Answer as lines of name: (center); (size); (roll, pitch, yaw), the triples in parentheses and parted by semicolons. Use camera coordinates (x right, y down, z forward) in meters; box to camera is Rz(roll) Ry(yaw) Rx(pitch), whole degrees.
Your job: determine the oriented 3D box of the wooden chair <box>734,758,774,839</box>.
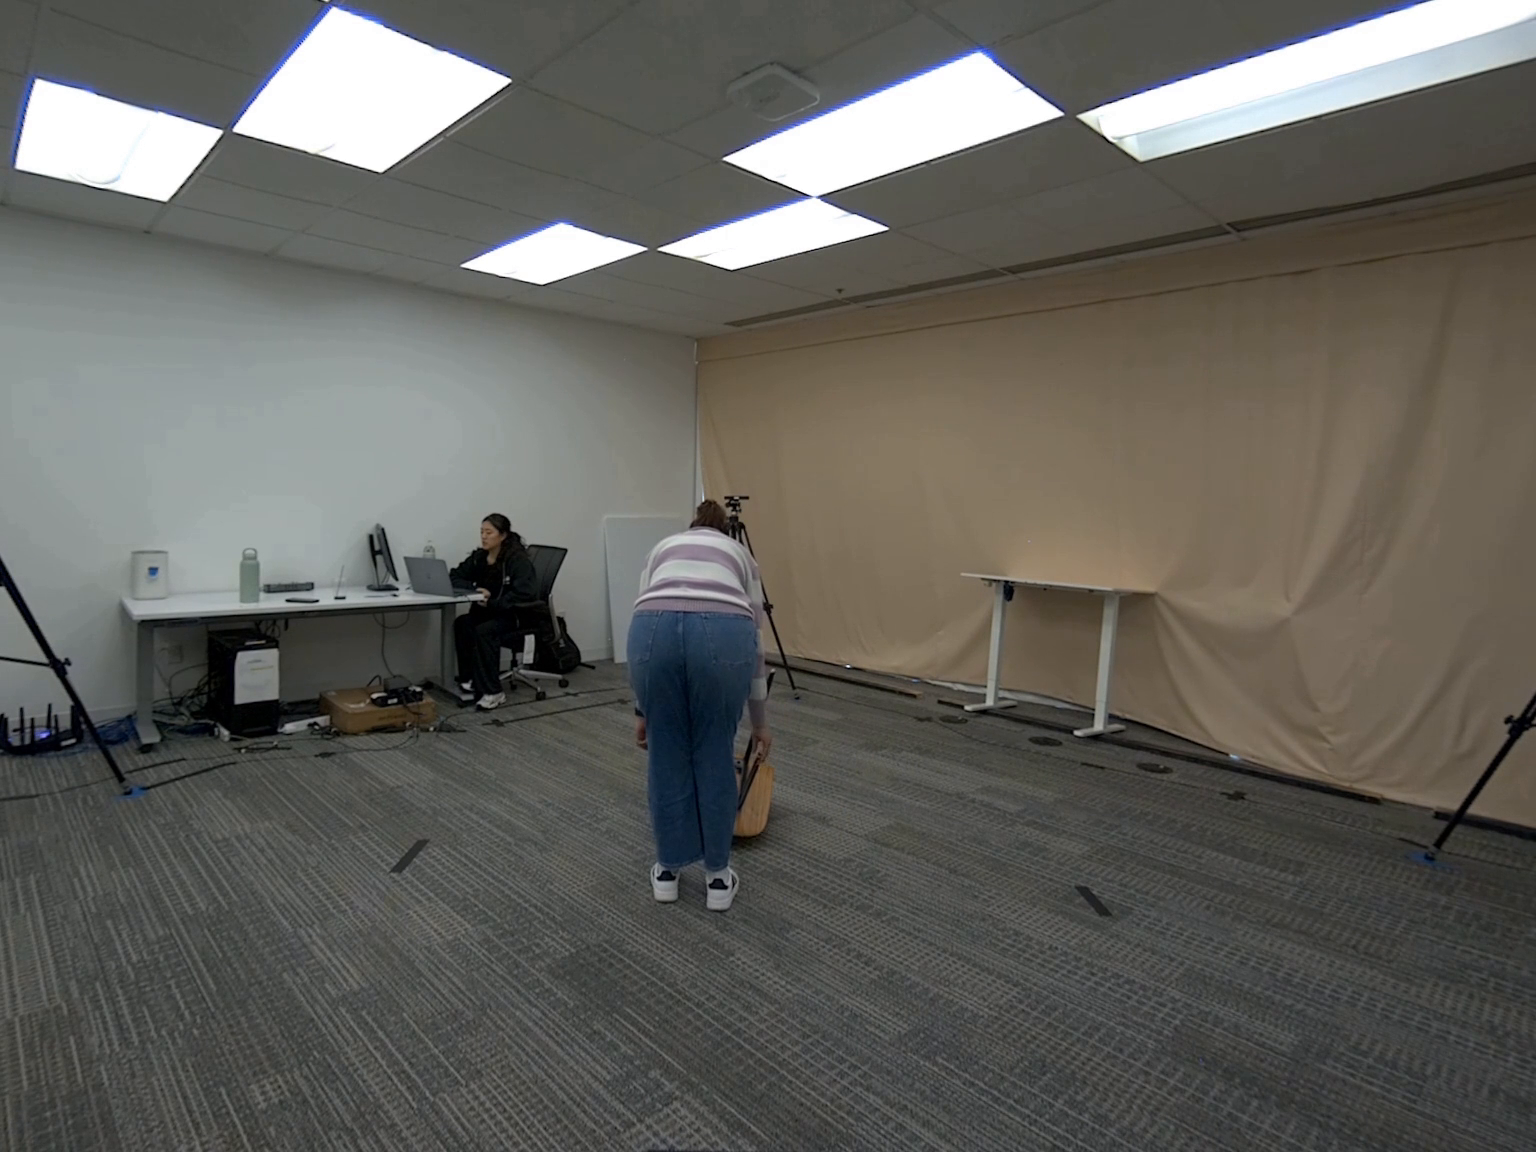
wooden chair: (-0.224, 0.860, 3.528); (0.481, 0.858, 0.532); (3, 39, 6)
